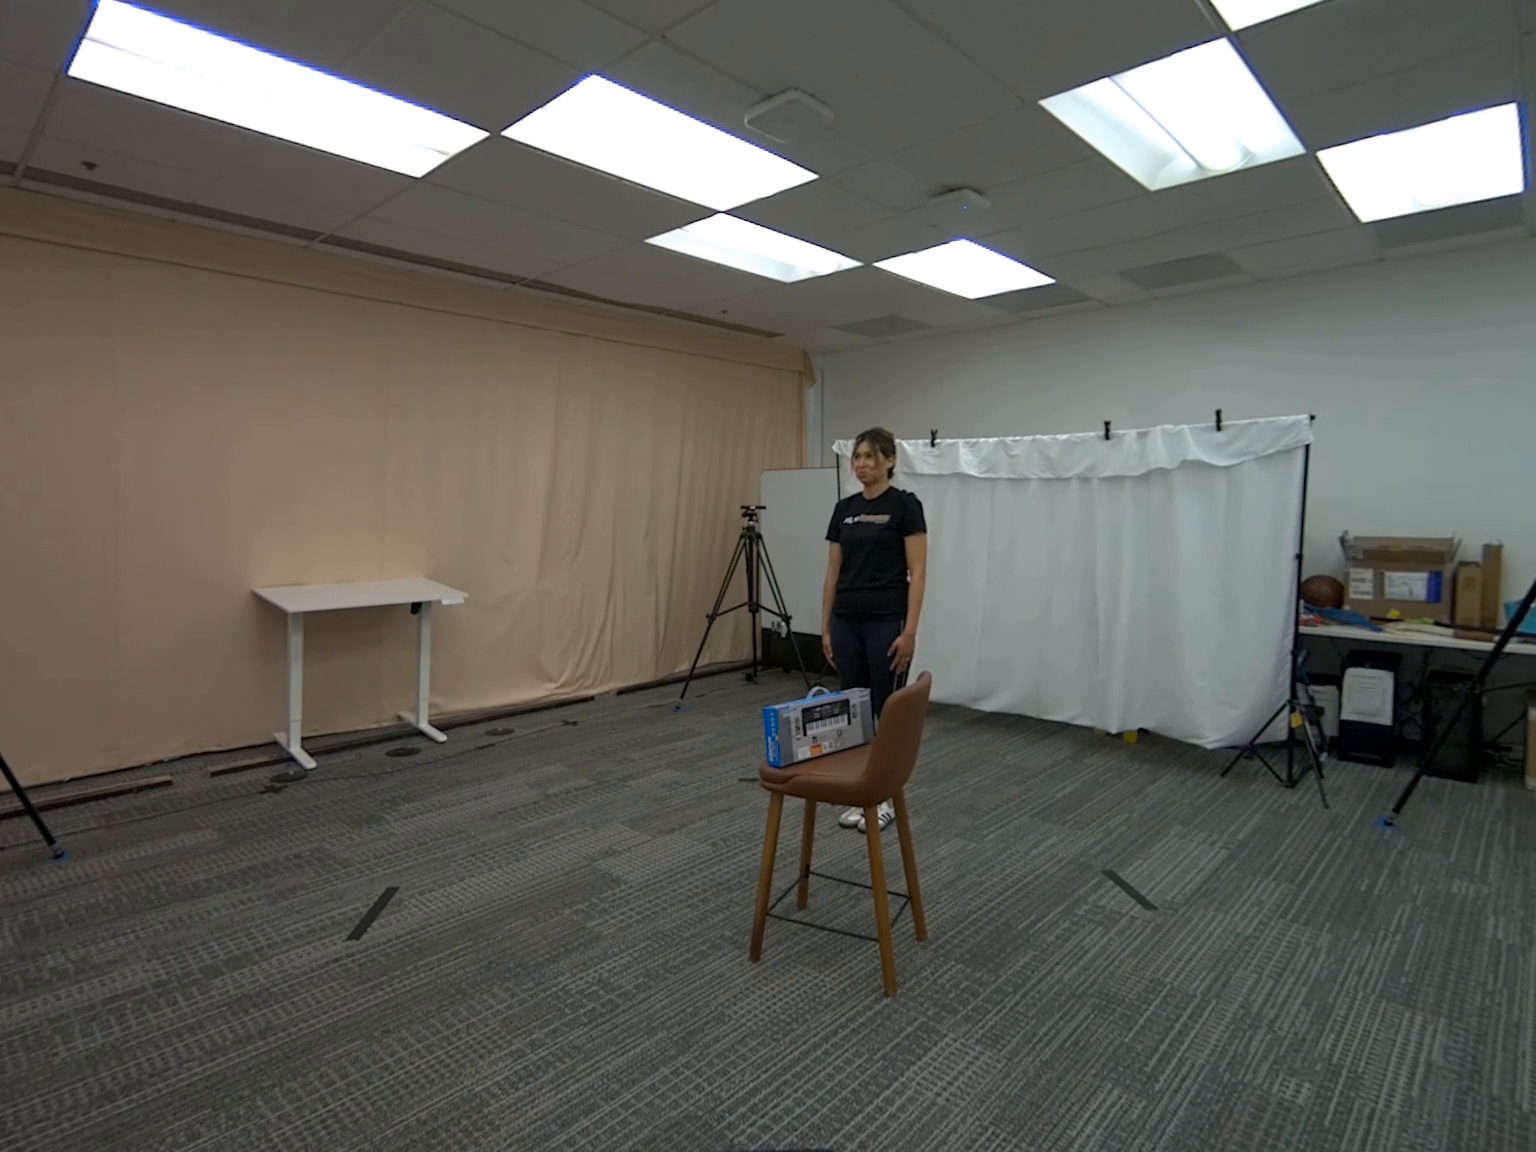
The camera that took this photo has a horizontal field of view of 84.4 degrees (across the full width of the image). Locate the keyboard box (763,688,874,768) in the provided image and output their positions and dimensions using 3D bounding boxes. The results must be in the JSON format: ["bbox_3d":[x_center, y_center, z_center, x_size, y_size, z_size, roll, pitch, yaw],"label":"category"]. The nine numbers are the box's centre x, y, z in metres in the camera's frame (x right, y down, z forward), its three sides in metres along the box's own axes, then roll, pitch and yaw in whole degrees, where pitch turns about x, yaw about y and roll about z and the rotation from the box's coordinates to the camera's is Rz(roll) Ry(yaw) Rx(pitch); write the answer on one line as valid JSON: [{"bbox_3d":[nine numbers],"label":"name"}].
[{"bbox_3d":[0.172,0.471,2.659,0.423,0.176,0.061,-4,-2,-42],"label":"keyboard box"}]
